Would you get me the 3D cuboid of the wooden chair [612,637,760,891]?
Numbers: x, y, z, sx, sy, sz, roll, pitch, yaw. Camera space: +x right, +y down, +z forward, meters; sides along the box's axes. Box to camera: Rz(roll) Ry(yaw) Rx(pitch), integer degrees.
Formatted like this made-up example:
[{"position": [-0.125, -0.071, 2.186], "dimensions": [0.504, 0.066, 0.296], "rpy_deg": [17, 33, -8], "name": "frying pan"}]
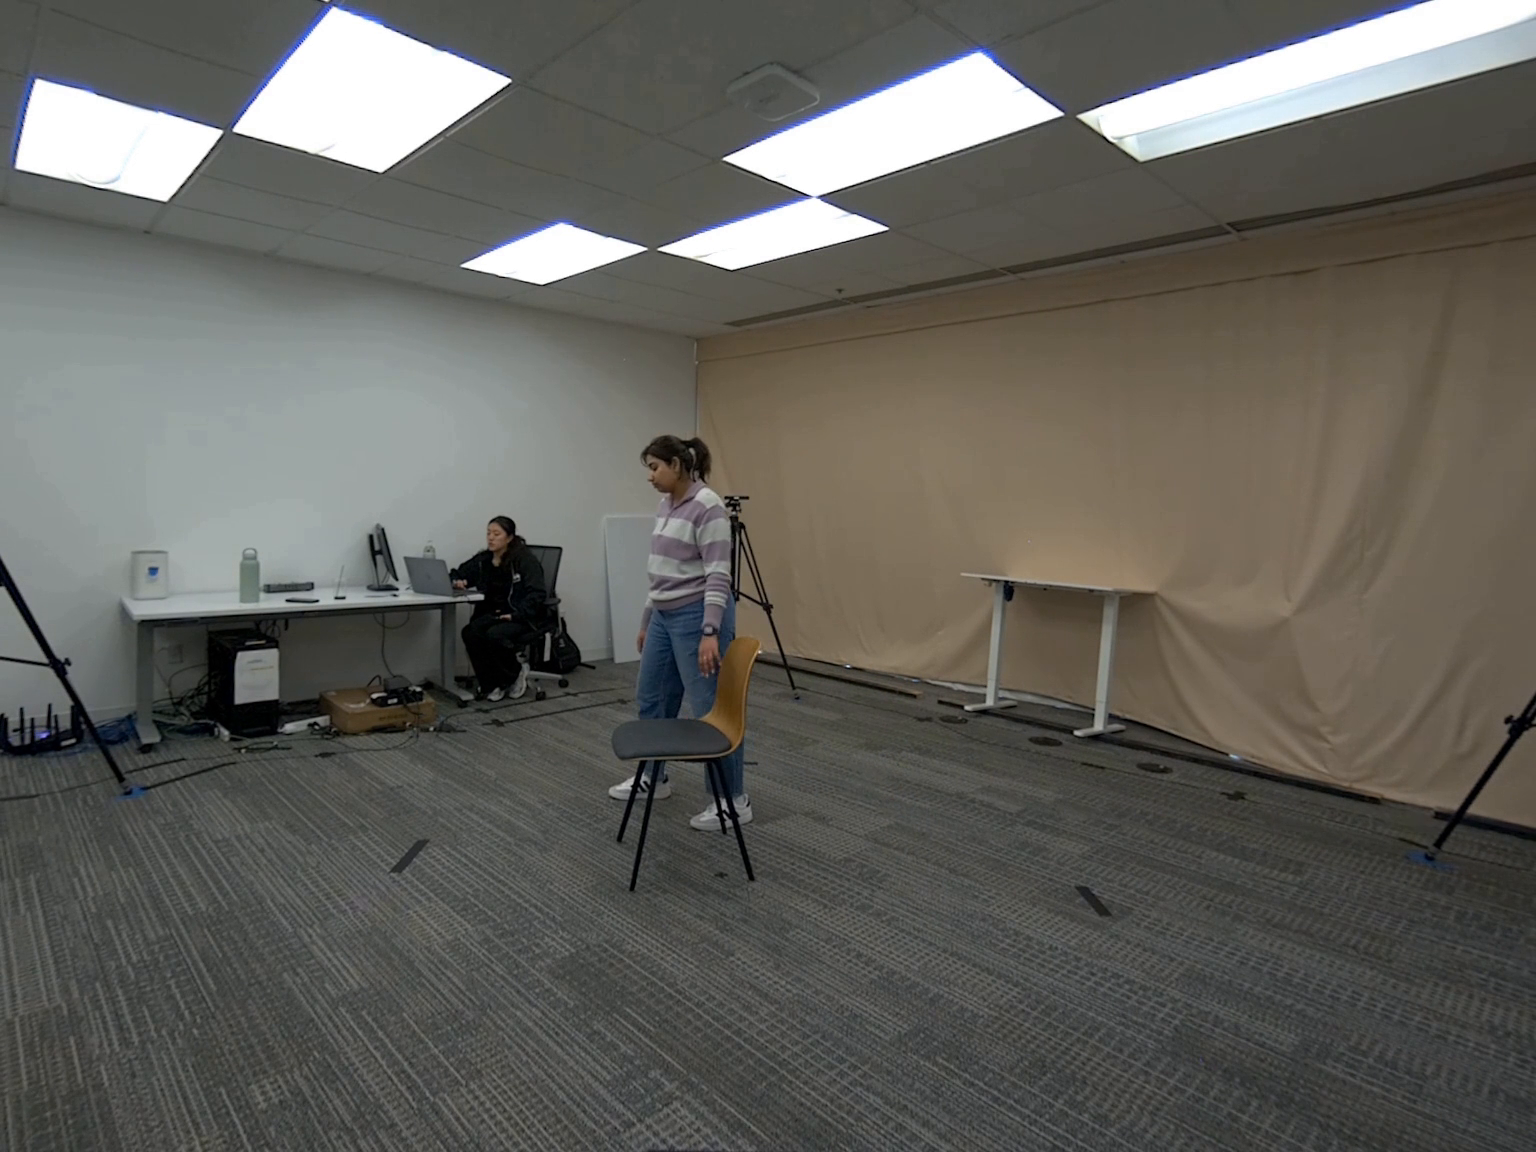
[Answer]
[{"position": [-0.330, 0.666, 3.184], "dimensions": [0.516, 0.876, 0.485], "rpy_deg": [5, 3, -16], "name": "wooden chair"}]
